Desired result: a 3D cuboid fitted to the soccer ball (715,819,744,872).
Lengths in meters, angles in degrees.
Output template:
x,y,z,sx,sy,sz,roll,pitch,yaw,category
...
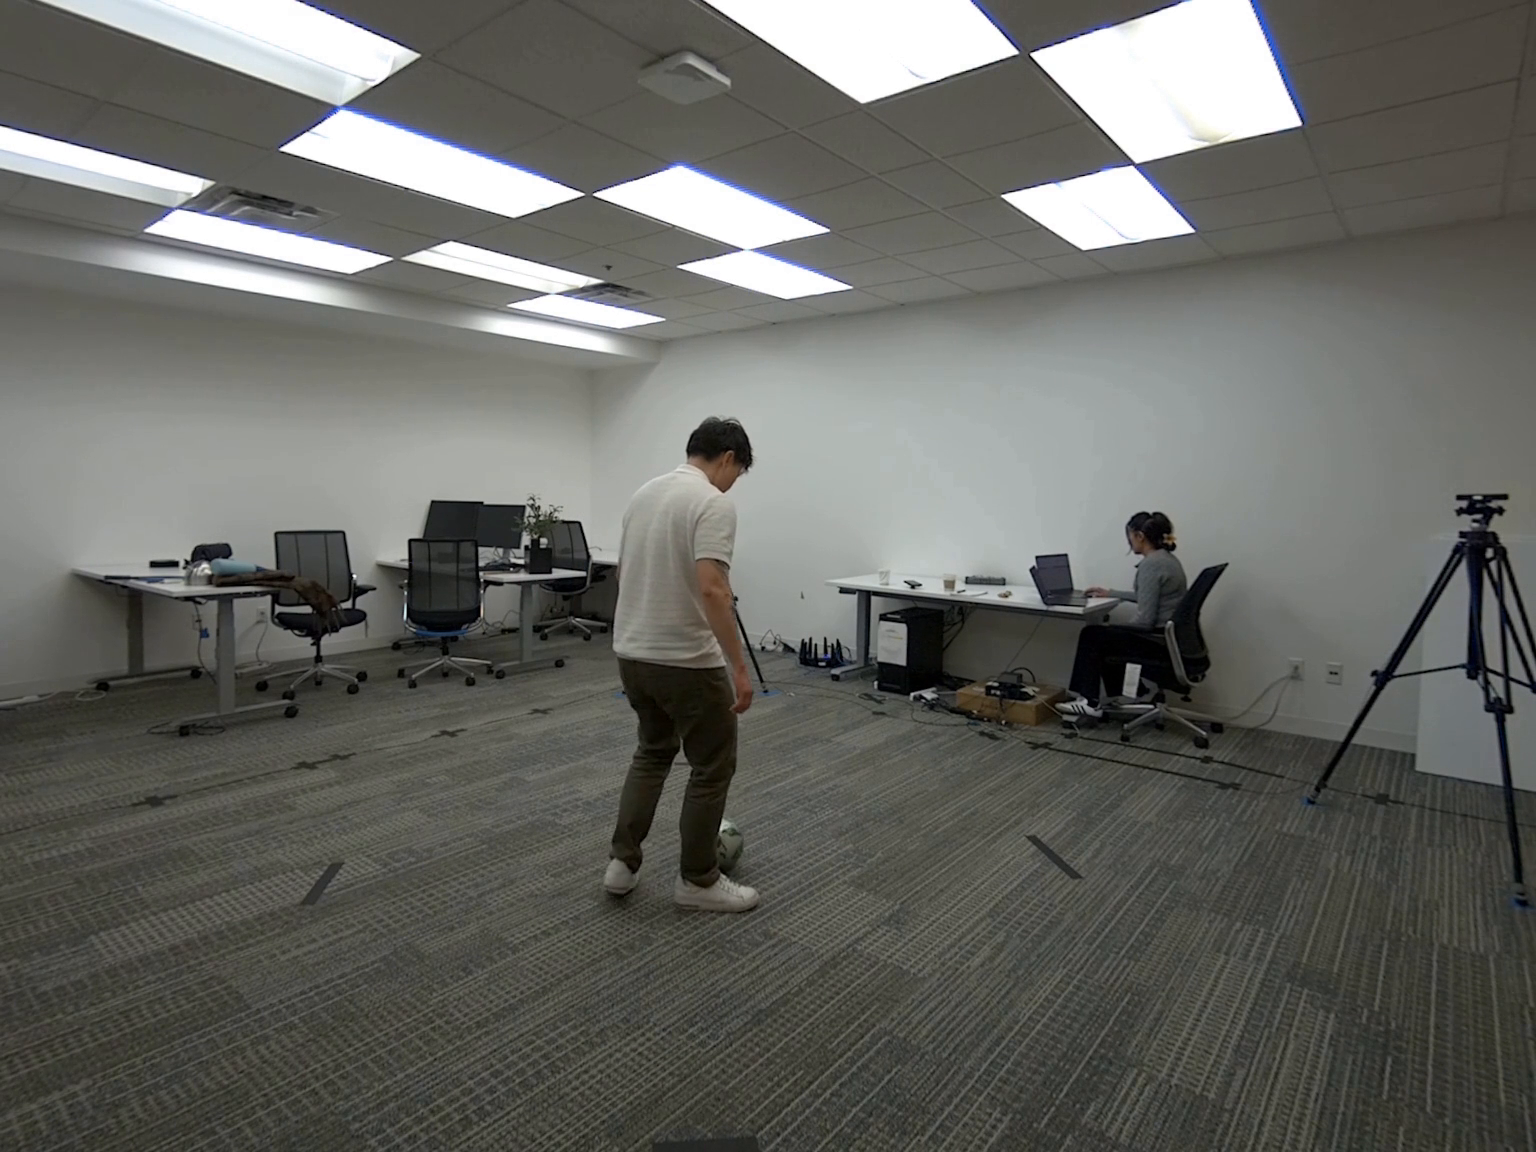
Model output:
x,y,z,sx,sy,sz,roll,pitch,yaw,category
-0.187,0.970,3.110,0.187,0.187,0.188,0,4,-2,soccer ball
